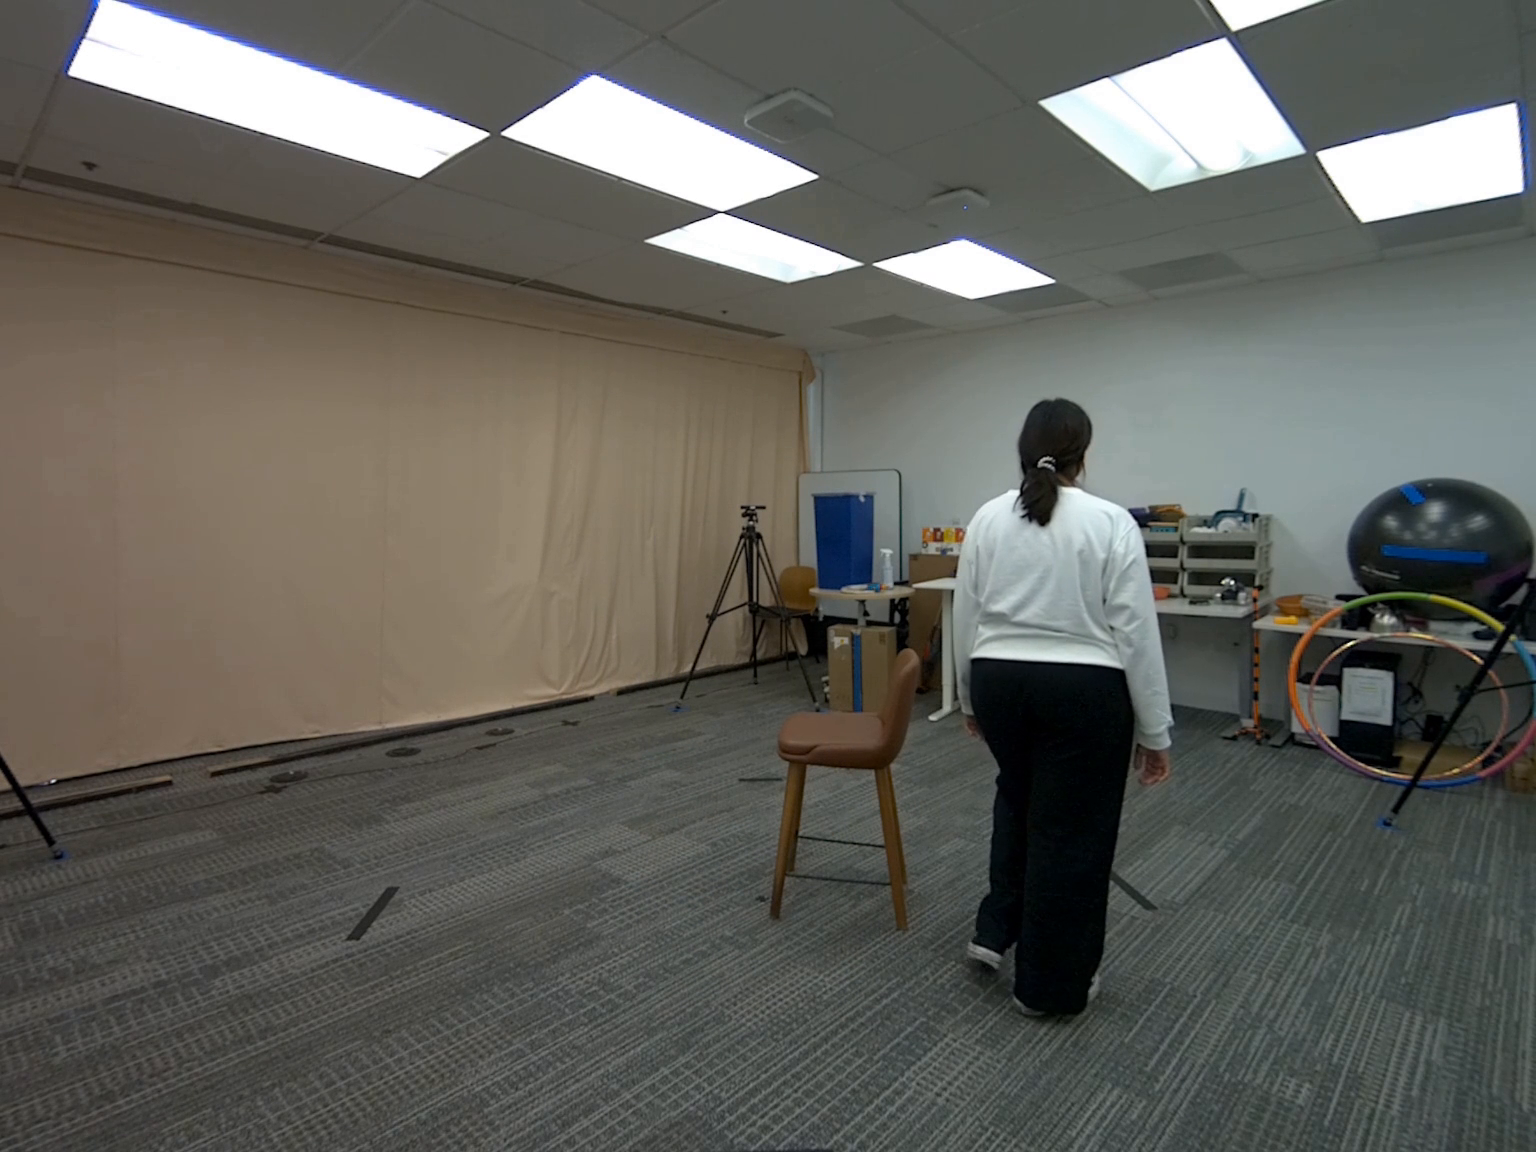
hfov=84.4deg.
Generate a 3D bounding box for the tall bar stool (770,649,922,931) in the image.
[{"bbox_3d":[0.275,0.711,2.961,0.474,0.888,0.451,3,4,12],"label":"tall bar stool"}]
